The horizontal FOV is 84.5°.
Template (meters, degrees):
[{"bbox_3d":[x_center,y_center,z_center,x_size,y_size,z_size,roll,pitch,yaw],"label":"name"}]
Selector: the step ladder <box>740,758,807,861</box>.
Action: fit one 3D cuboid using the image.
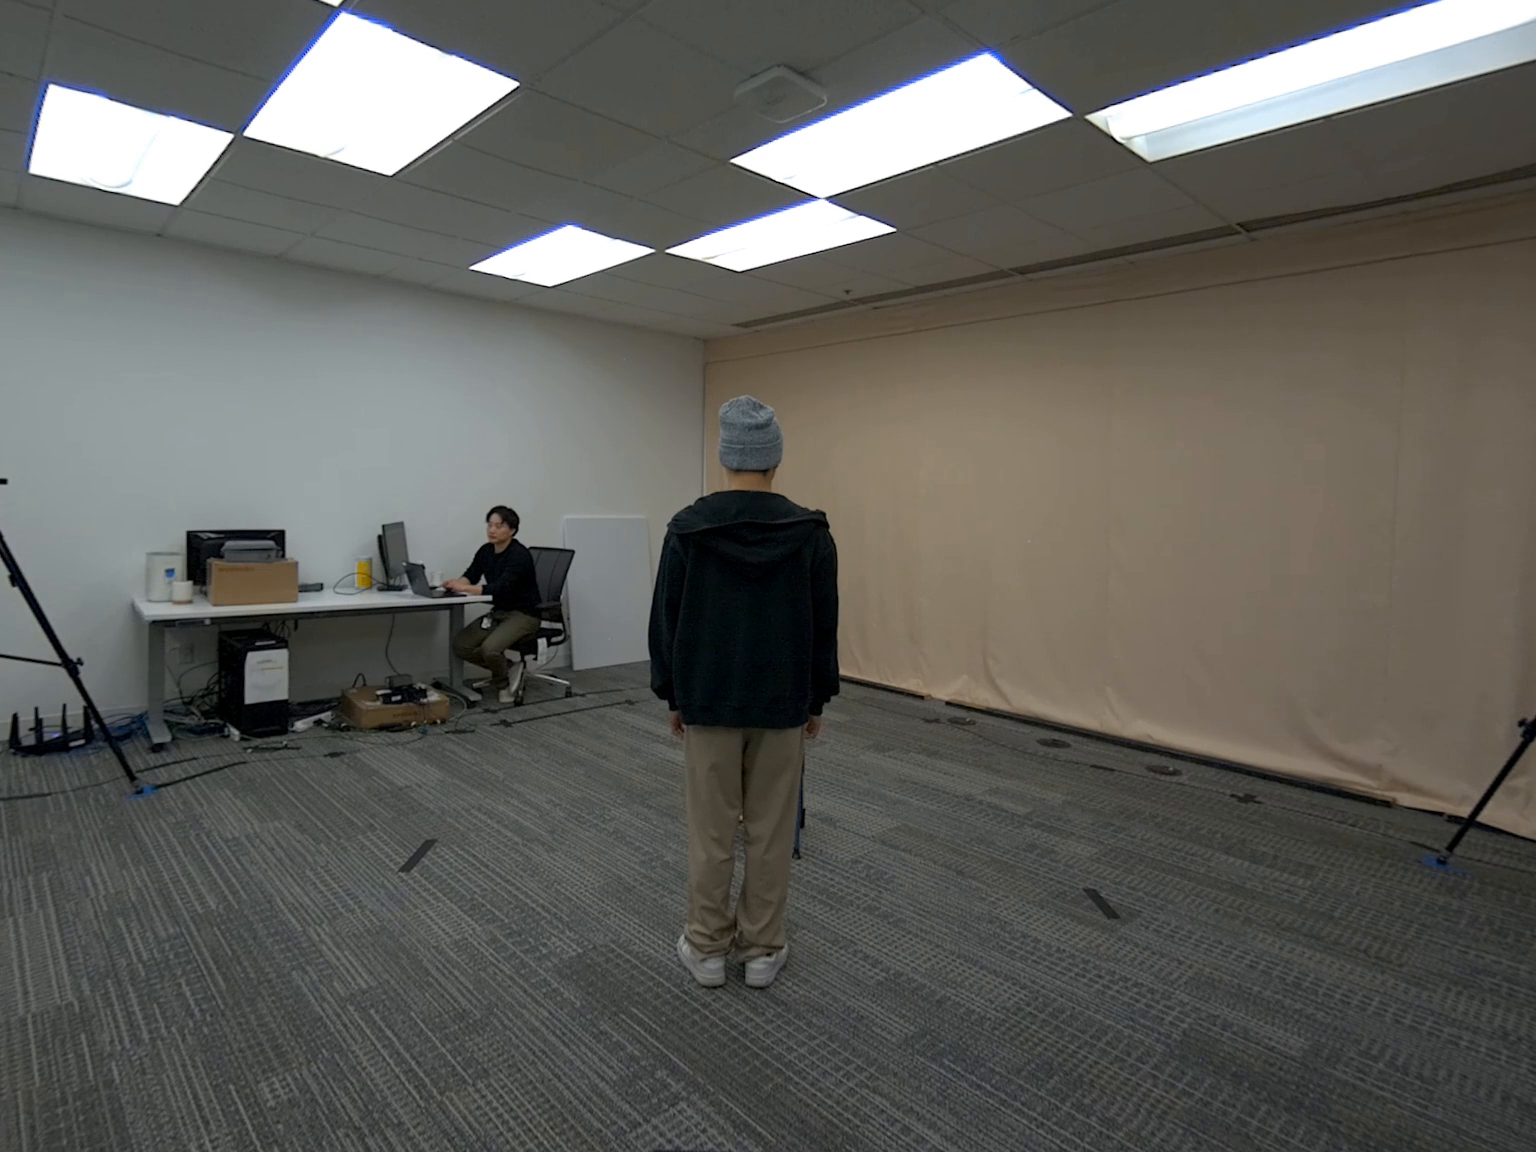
[{"bbox_3d":[-0.062,0.781,3.454,0.433,0.604,0.348,2,3,7],"label":"step ladder"}]
